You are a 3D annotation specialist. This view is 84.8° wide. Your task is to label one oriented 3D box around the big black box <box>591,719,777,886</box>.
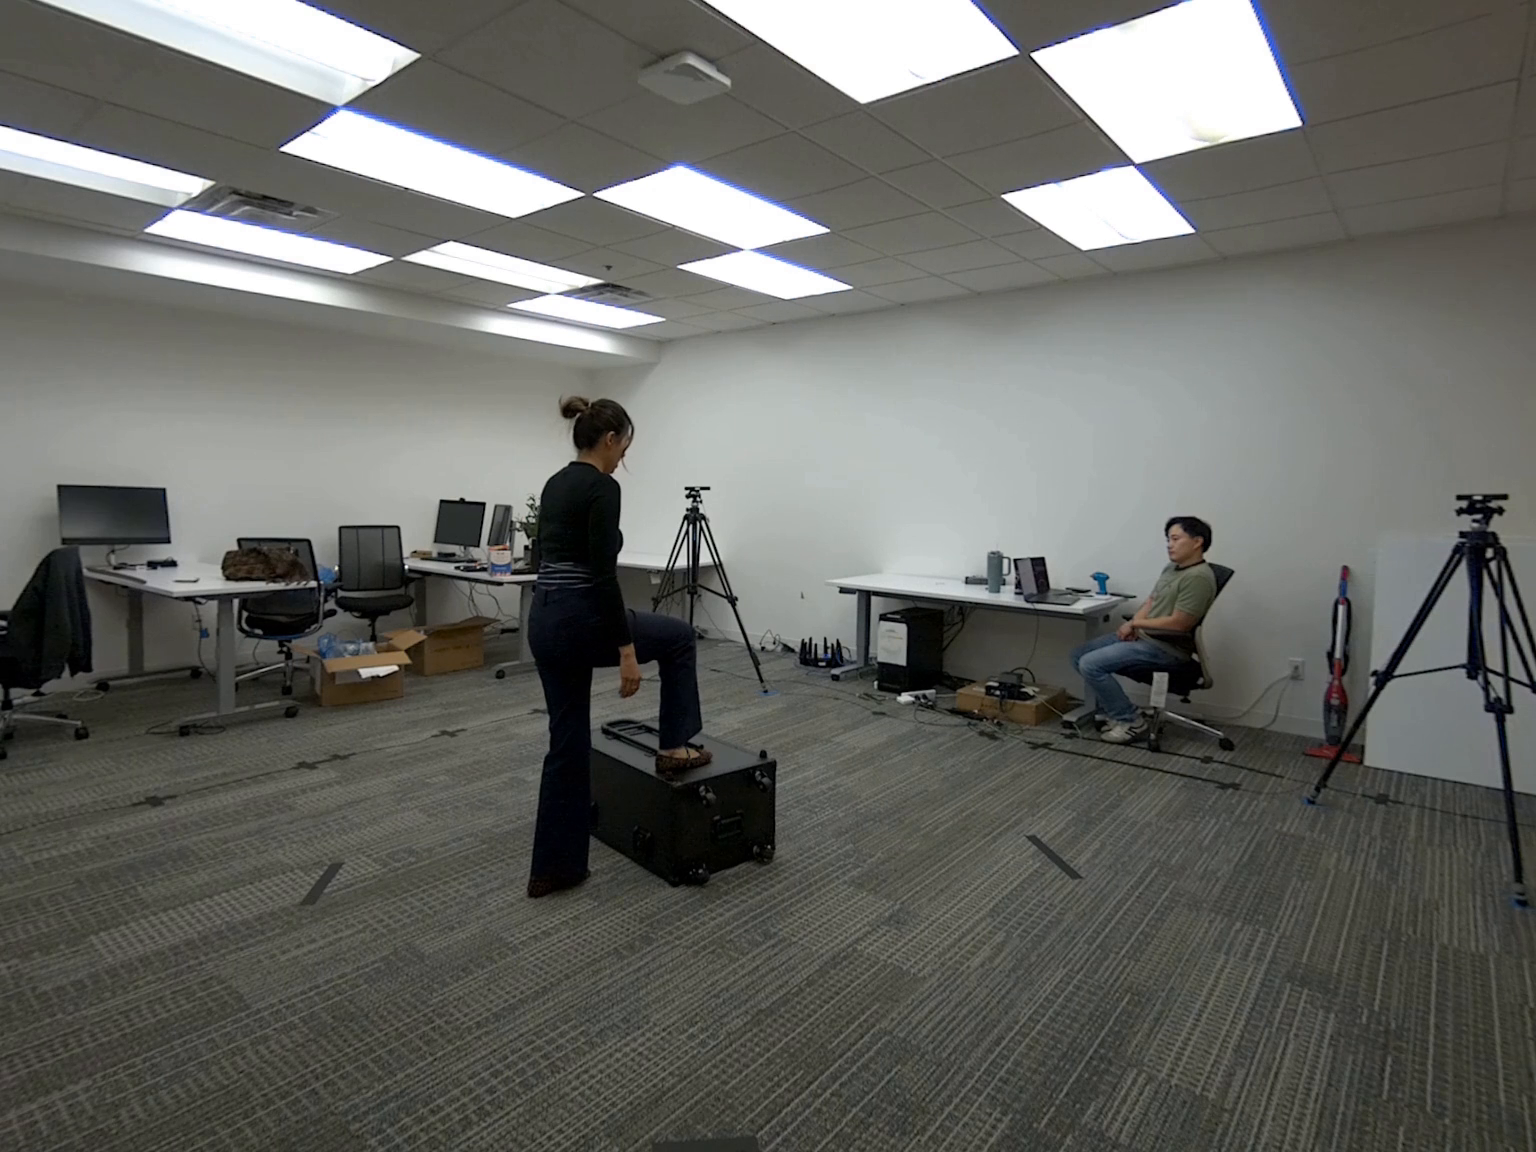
[{"bbox_3d":[-0.437,0.860,3.414,0.506,0.395,0.891,-3,7,-41],"label":"big black box"}]
